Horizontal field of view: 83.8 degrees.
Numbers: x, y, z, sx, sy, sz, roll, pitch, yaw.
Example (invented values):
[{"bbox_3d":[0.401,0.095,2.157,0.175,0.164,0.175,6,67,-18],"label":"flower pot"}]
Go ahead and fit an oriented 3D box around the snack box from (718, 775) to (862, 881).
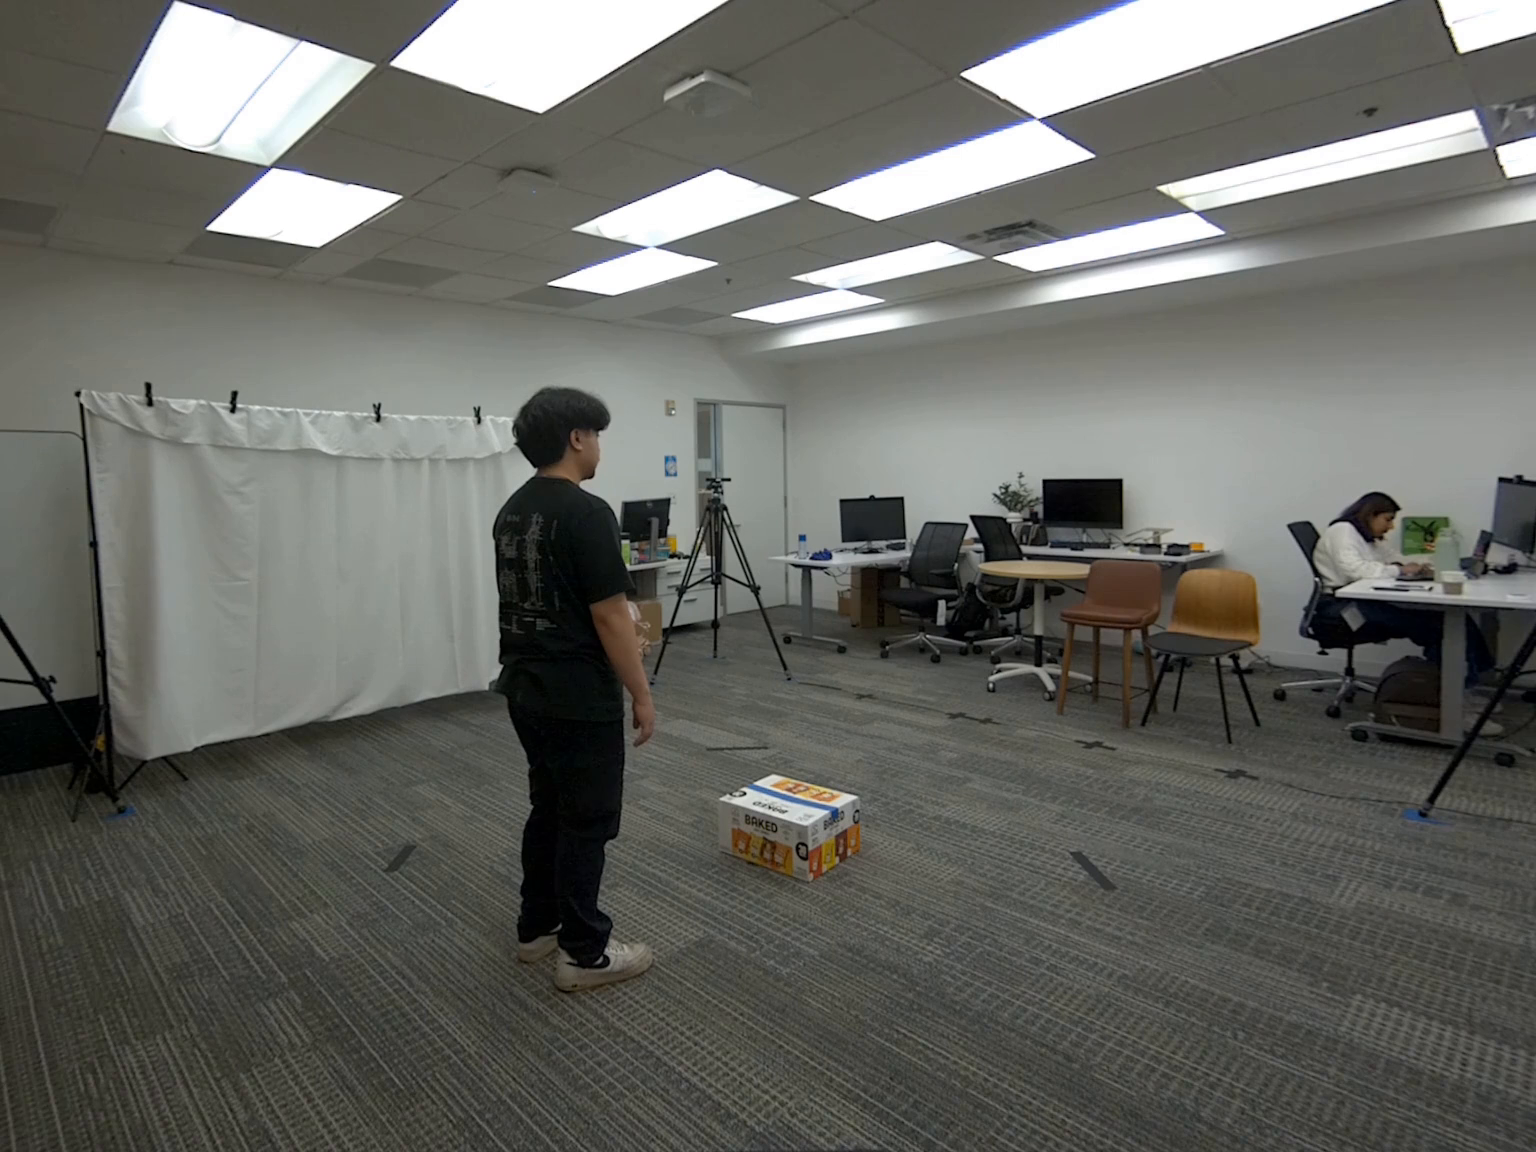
[{"bbox_3d":[0.080,0.928,3.191,0.417,0.205,0.332,4,7,38],"label":"snack box"}]
